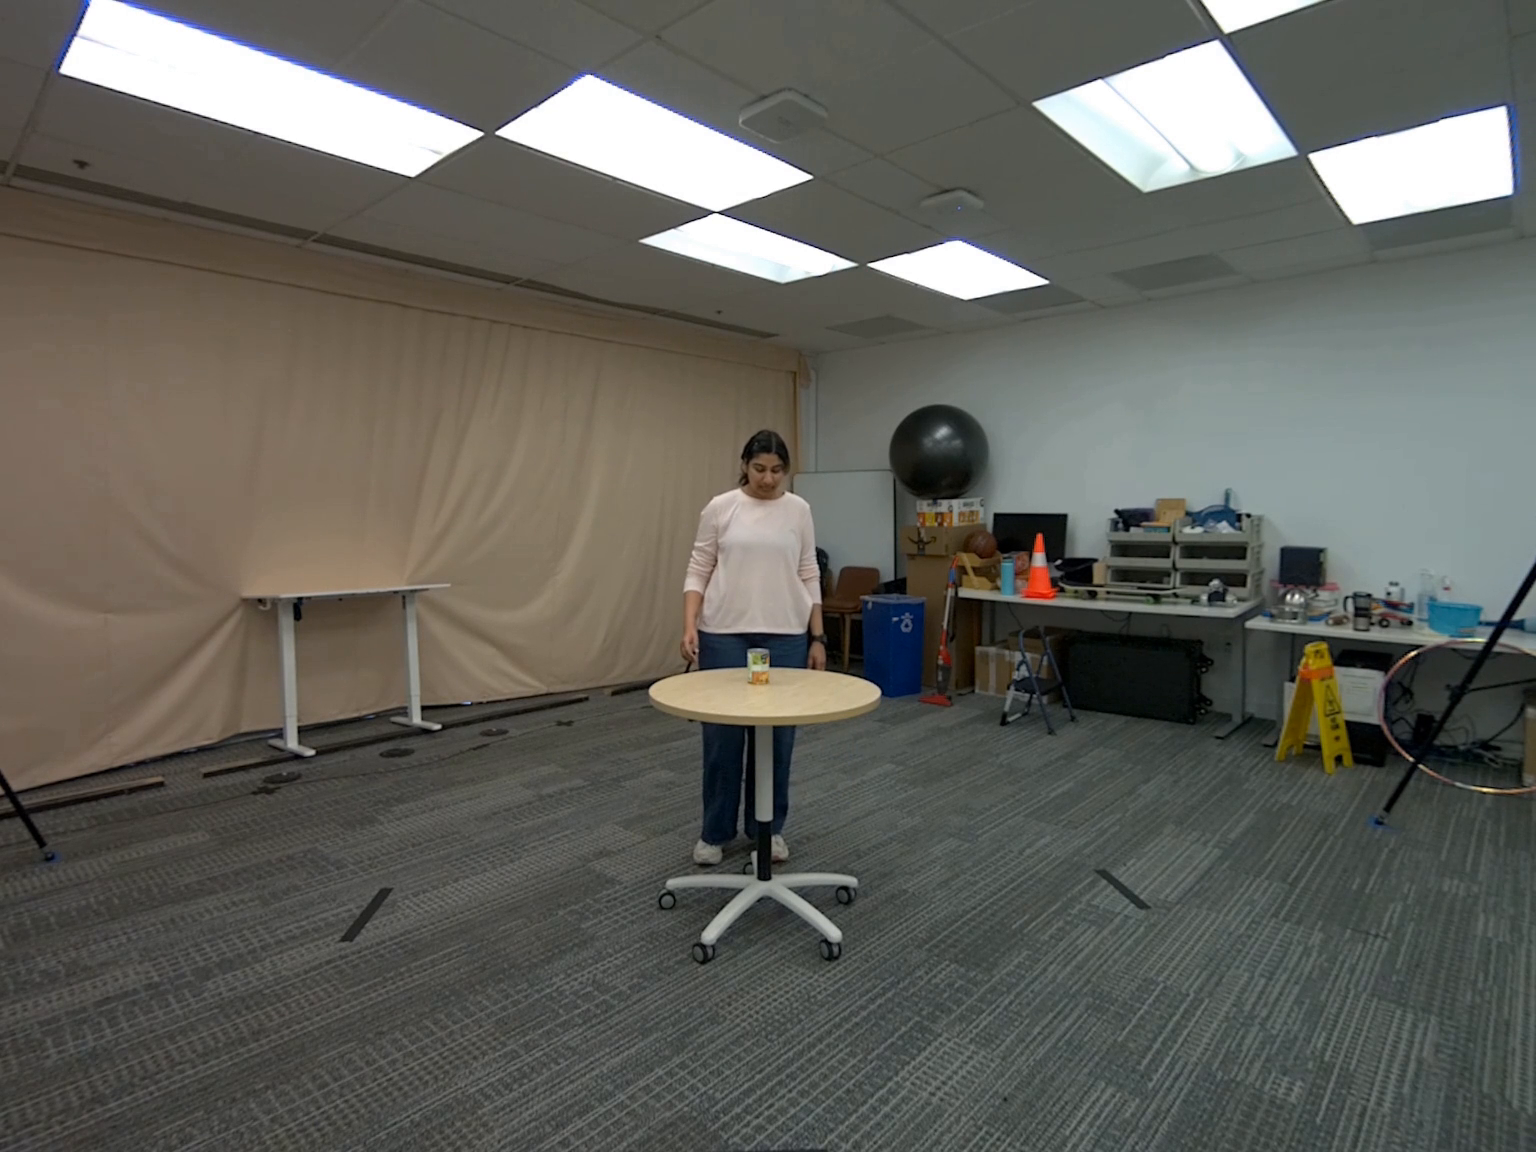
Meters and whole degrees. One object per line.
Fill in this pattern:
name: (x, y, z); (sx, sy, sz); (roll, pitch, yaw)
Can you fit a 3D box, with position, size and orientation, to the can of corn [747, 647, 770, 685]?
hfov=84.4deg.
can of corn: (-0.037, 0.311, 2.905); (0.074, 0.111, 0.074); (3, 1, -2)
